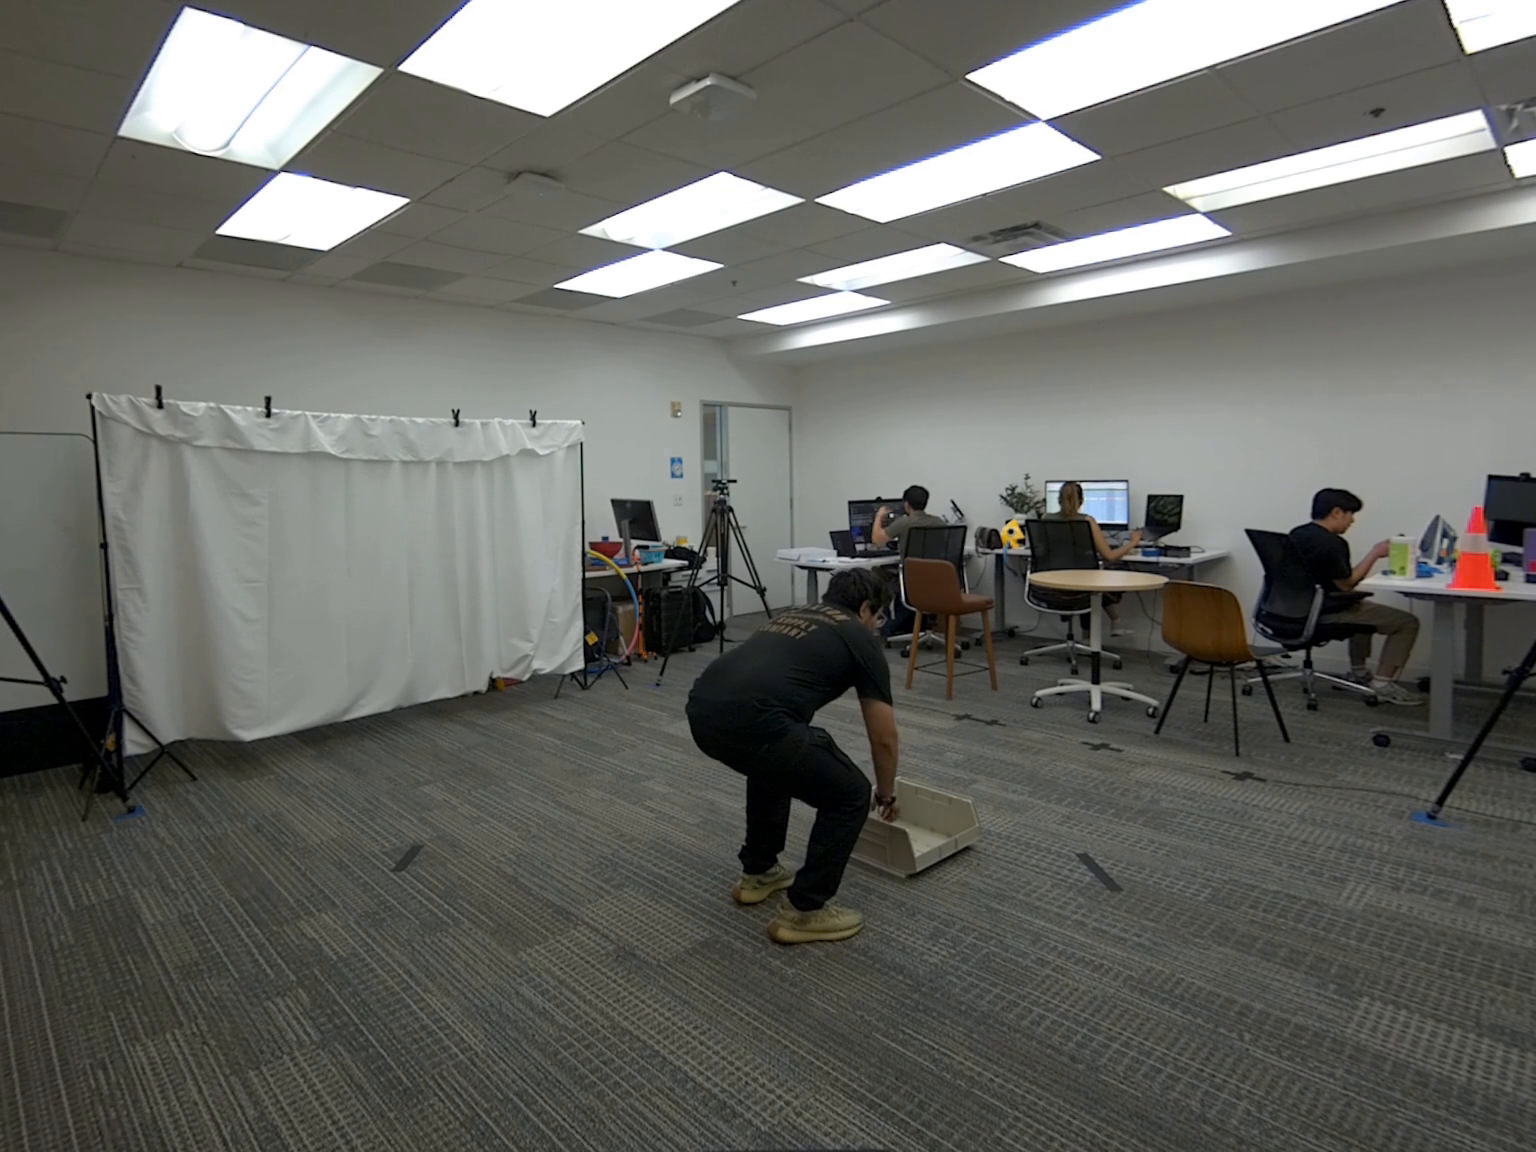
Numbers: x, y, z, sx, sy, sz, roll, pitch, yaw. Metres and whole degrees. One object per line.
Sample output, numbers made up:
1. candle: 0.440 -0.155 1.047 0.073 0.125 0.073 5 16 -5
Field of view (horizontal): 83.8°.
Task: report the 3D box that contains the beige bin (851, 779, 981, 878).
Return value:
1. beige bin: 0.525 0.941 3.208 0.411 0.188 0.389 -7 8 -43
